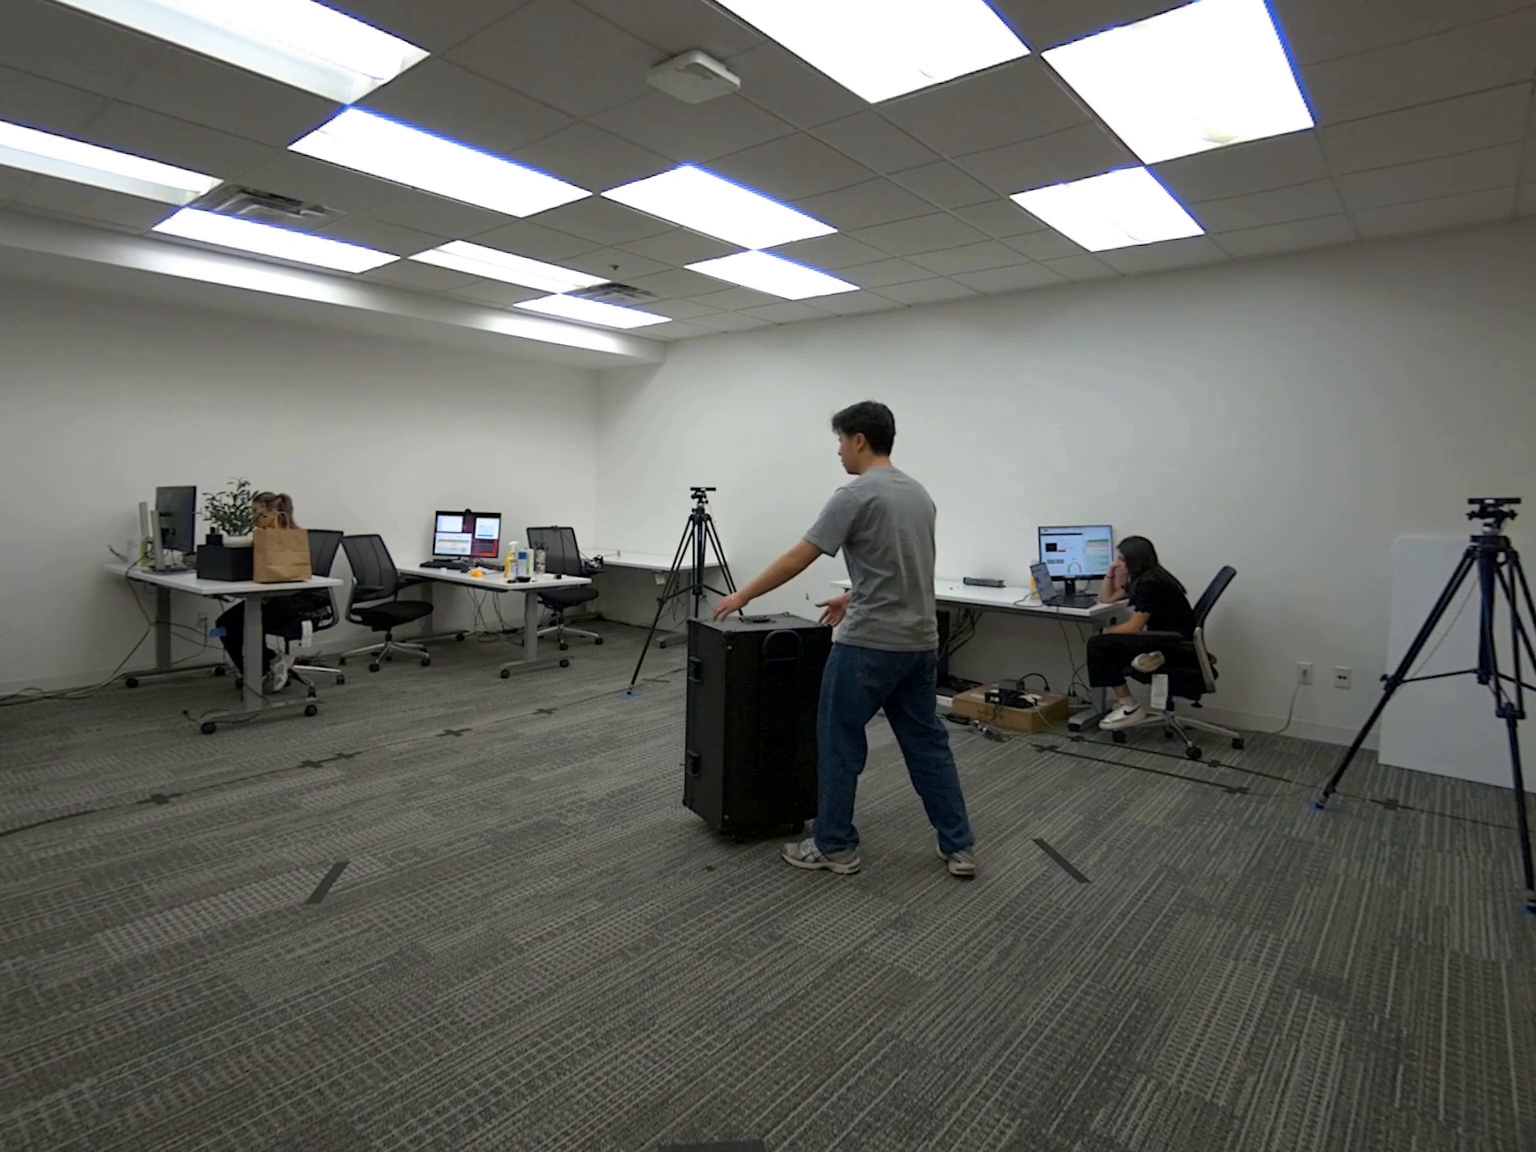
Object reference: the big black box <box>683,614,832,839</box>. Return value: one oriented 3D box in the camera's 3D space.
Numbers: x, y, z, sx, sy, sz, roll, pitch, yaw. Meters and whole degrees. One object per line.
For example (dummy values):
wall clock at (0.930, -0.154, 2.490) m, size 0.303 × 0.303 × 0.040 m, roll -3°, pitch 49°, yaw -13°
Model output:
big black box at (-0.050, 0.606, 3.470) m, size 0.508 × 0.858 × 0.408 m, roll 0°, pitch 5°, yaw -28°
